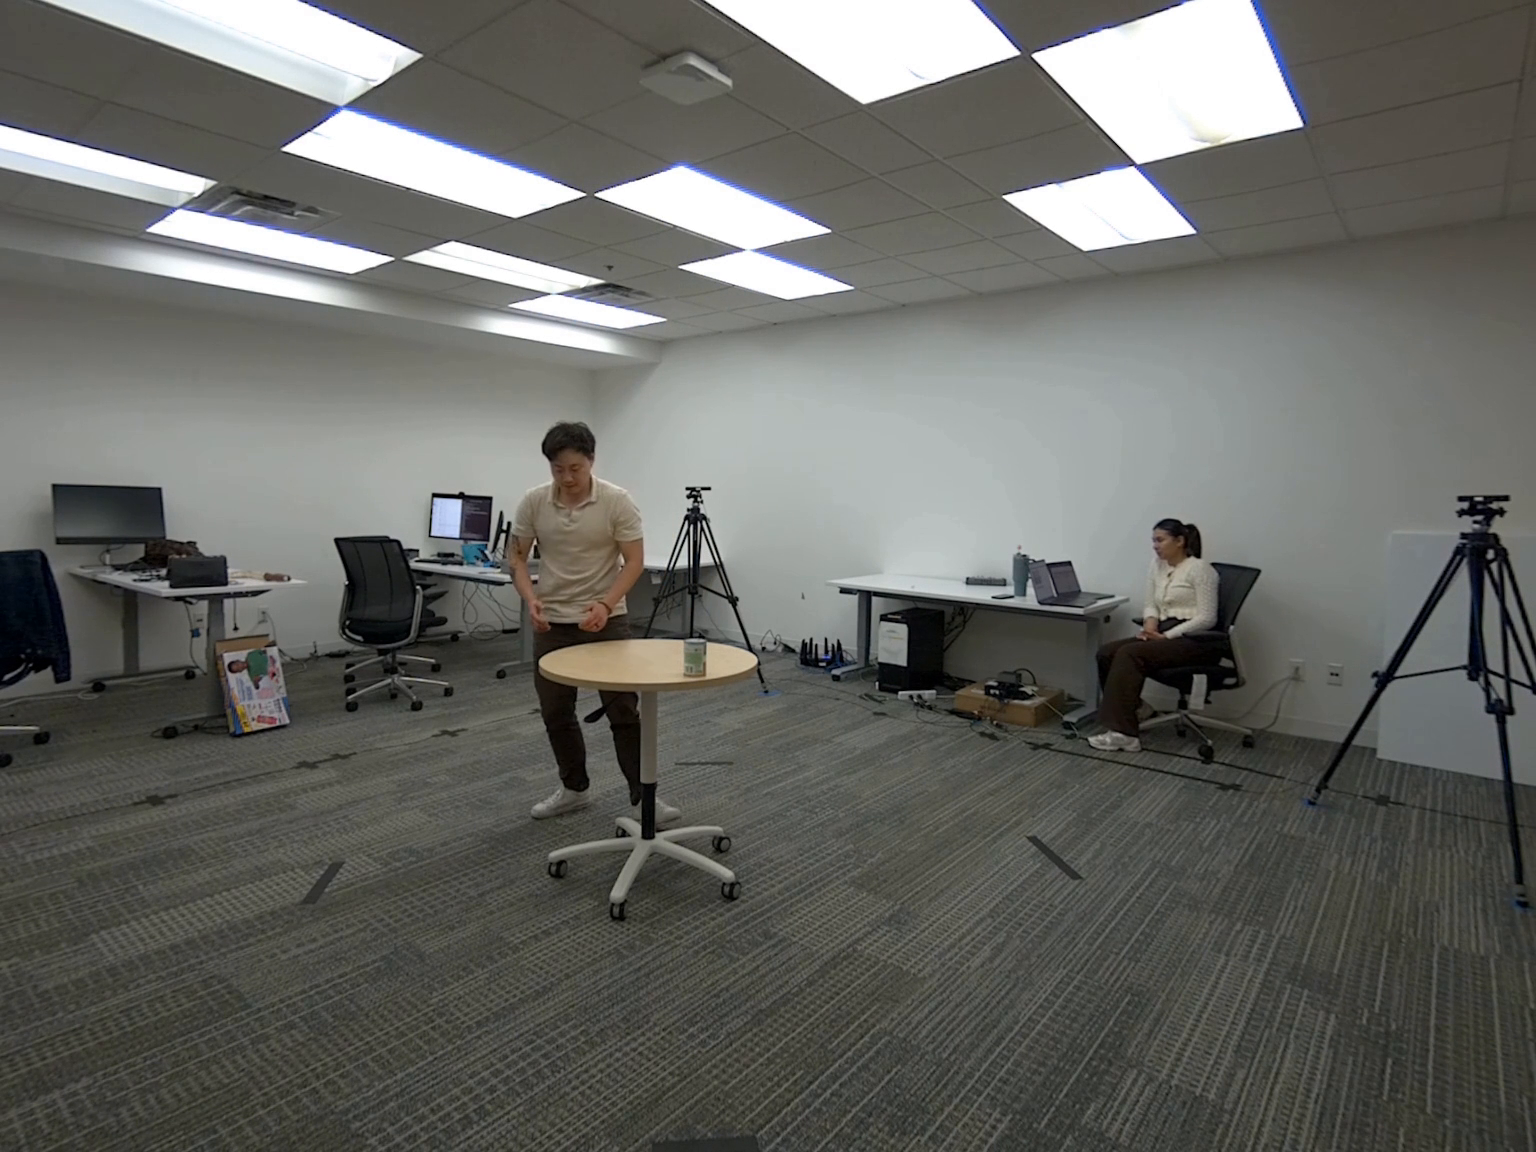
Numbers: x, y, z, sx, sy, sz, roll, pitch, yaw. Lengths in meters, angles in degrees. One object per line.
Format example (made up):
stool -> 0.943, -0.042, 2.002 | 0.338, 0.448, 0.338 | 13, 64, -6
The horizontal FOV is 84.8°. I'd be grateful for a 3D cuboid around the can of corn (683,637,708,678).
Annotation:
can of corn -> -0.241, 0.262, 2.740 | 0.074, 0.110, 0.074 | 2, 5, -2
